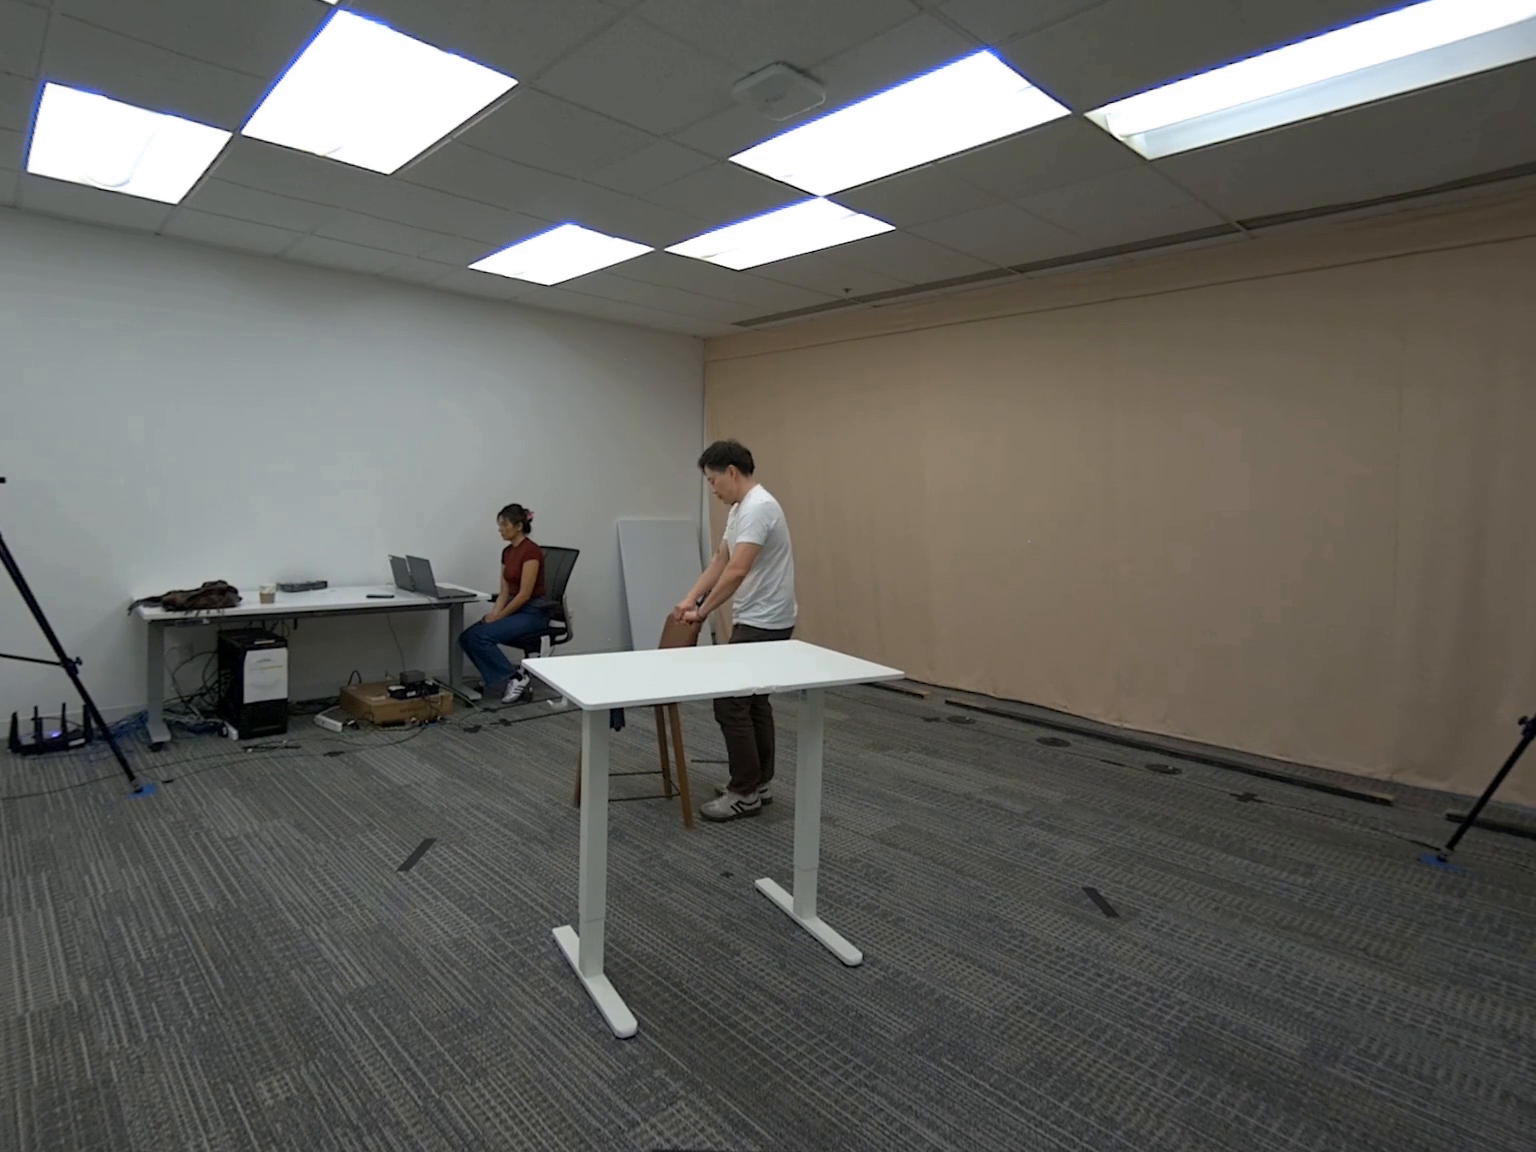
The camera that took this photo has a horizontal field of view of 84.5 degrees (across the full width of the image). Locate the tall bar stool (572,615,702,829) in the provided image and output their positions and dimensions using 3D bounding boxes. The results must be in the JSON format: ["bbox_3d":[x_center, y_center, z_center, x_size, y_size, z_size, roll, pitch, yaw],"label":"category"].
[{"bbox_3d":[-0.570,0.609,3.619,0.460,0.888,0.464,3,3,-19],"label":"tall bar stool"}]
